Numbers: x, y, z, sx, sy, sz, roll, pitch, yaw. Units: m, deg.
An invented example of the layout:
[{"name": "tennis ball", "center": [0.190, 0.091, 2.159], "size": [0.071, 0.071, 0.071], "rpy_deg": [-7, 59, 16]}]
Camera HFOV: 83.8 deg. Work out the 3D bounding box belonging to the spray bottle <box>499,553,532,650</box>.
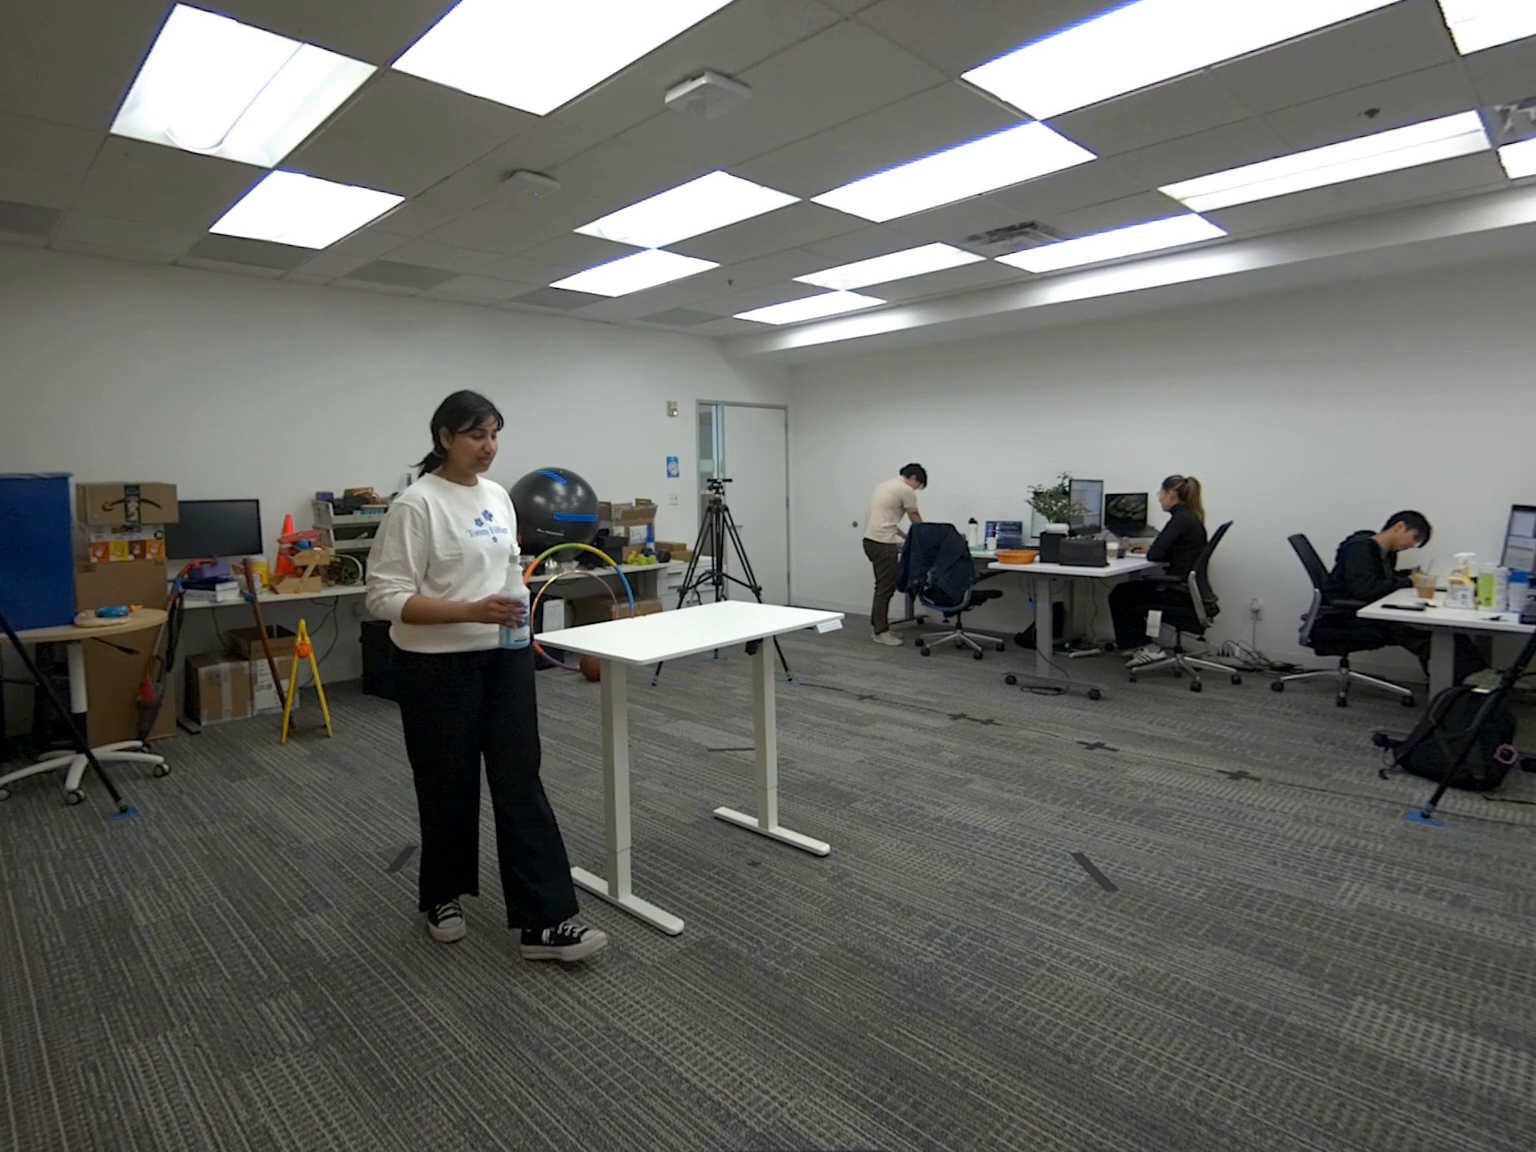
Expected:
[{"name": "spray bottle", "center": [-0.716, 0.053, 2.409], "size": [0.088, 0.296, 0.089], "rpy_deg": [1, 6, 9]}]
